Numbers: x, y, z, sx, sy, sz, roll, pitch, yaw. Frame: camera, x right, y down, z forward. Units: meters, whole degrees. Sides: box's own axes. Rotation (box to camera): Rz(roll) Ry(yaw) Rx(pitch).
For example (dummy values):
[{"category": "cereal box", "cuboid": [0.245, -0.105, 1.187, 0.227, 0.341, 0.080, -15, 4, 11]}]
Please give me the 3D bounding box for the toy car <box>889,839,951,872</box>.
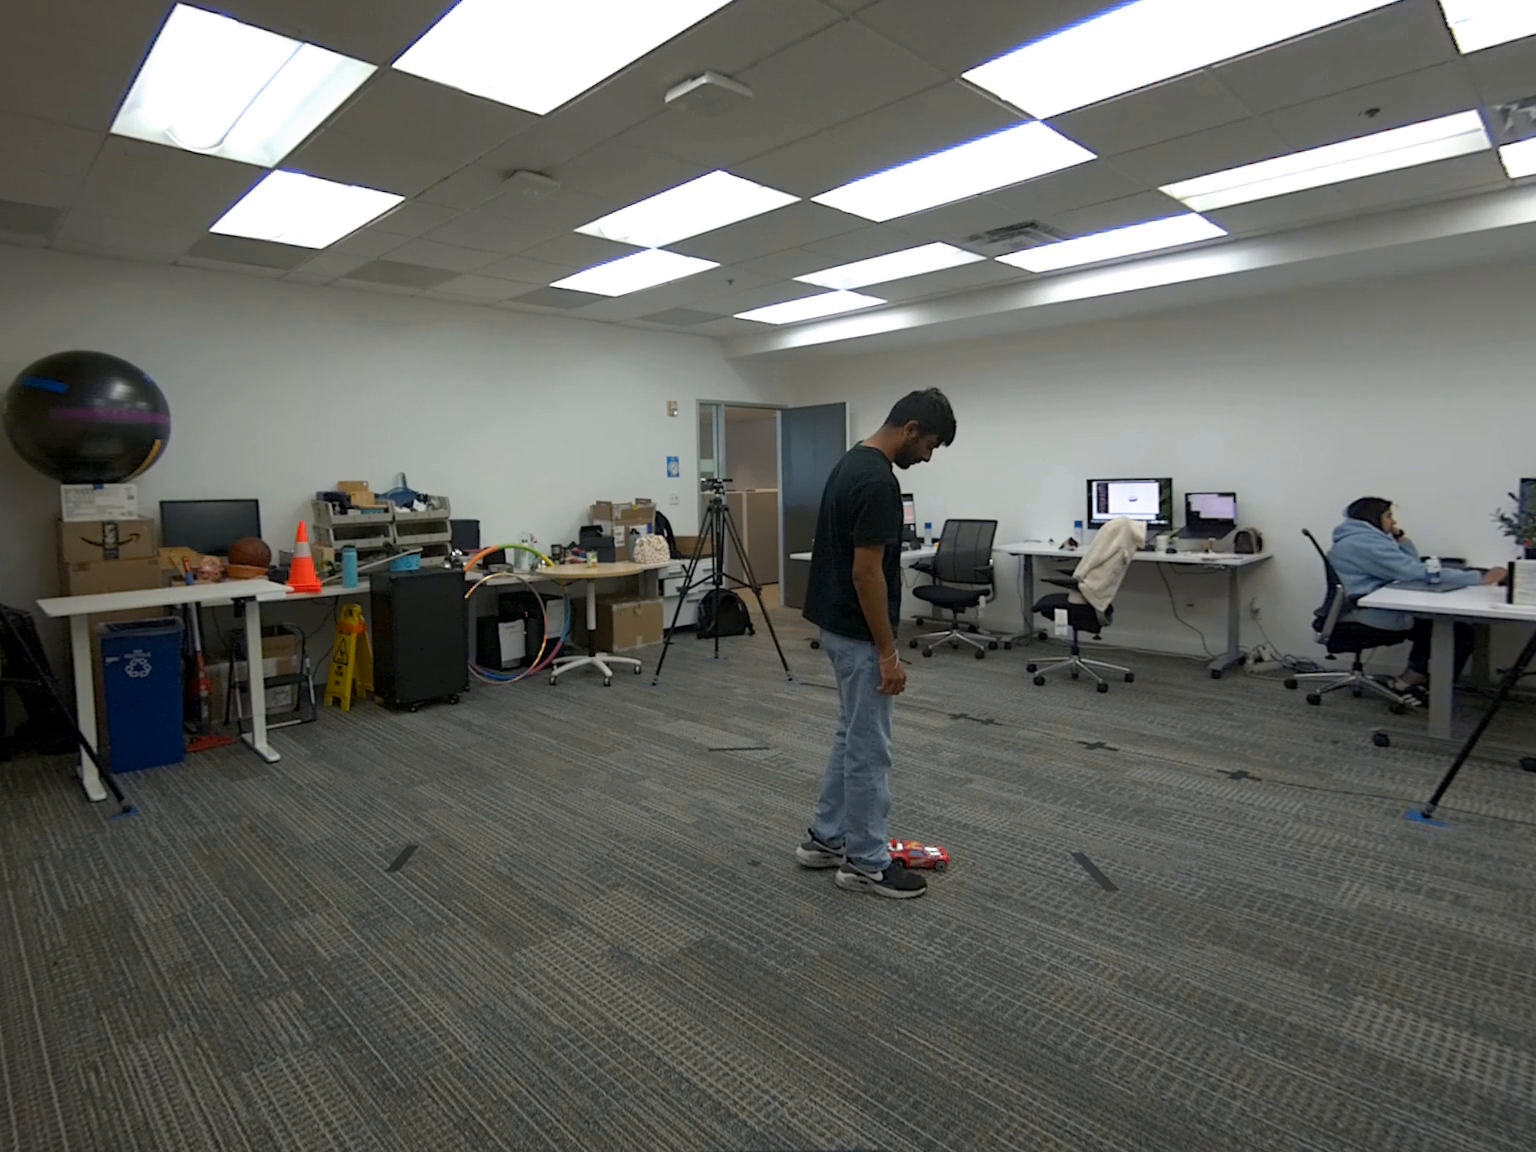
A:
[{"category": "toy car", "cuboid": [0.516, 1.001, 3.066, 0.256, 0.083, 0.130, 11, 7, 5]}]
